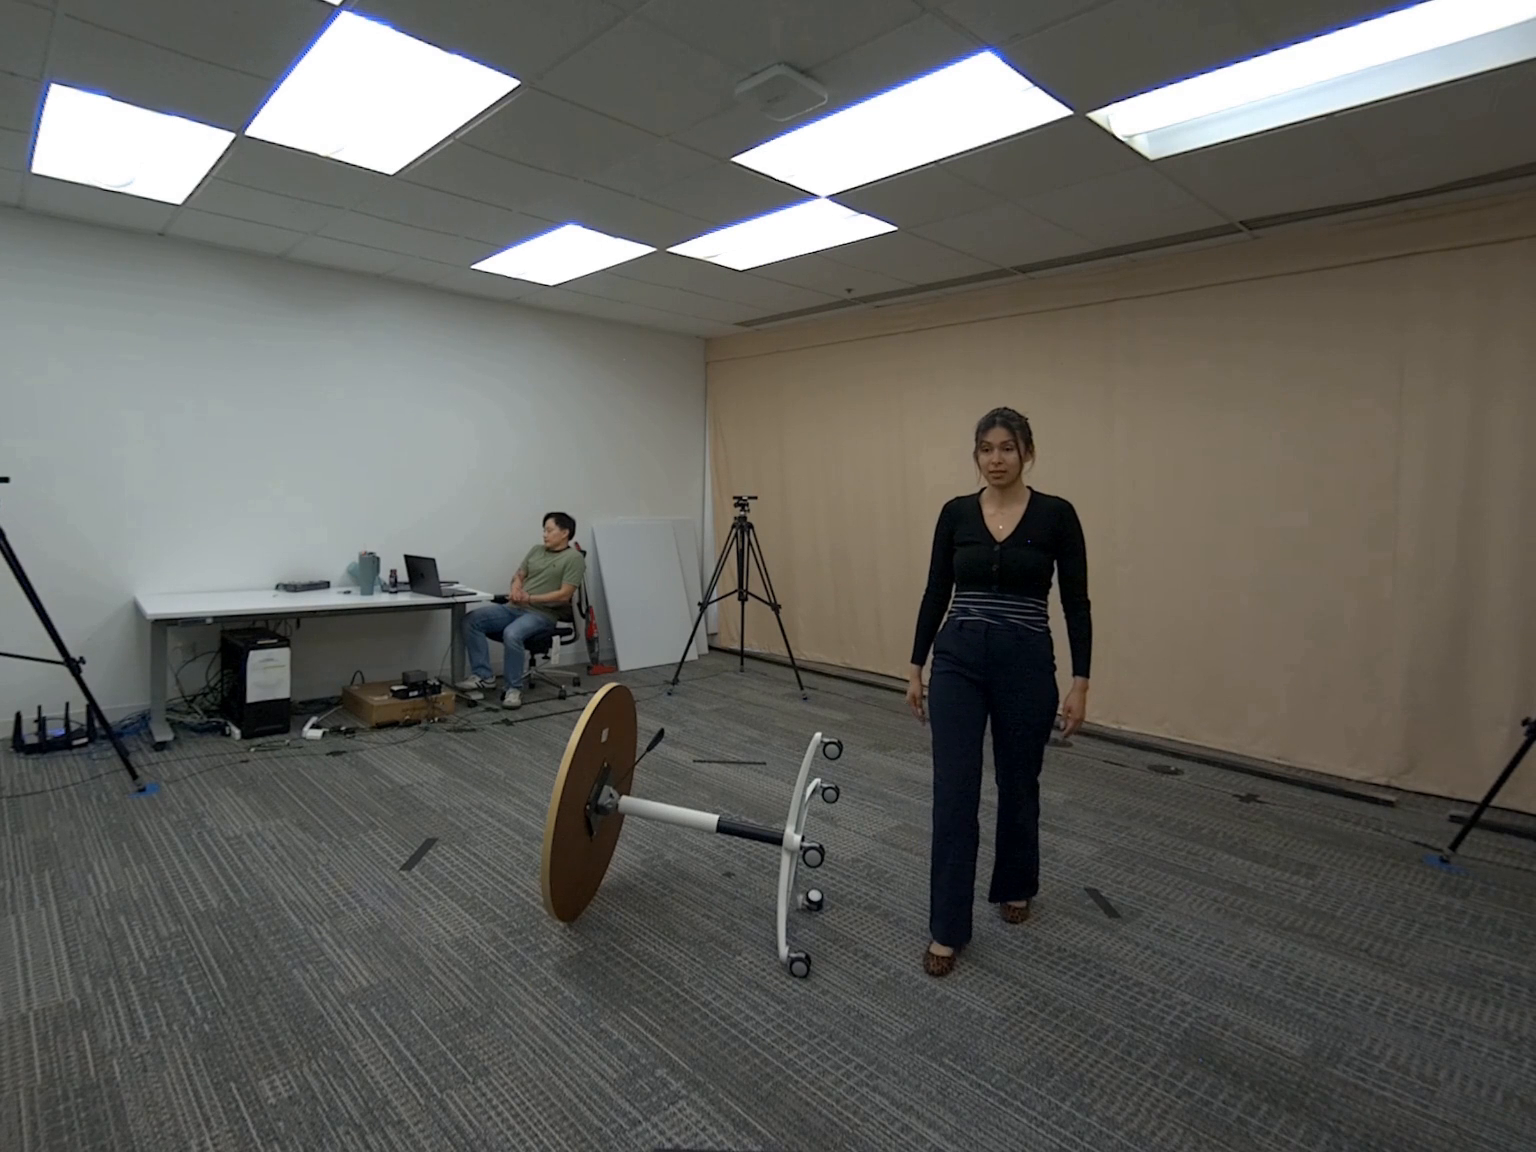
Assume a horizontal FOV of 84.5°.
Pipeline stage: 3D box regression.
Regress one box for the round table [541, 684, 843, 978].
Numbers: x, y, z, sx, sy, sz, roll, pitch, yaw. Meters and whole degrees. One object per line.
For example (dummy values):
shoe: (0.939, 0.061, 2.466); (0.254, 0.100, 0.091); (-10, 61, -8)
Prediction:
round table: (-0.199, 0.793, 2.722); (0.802, 0.761, 0.759); (9, 5, 10)
